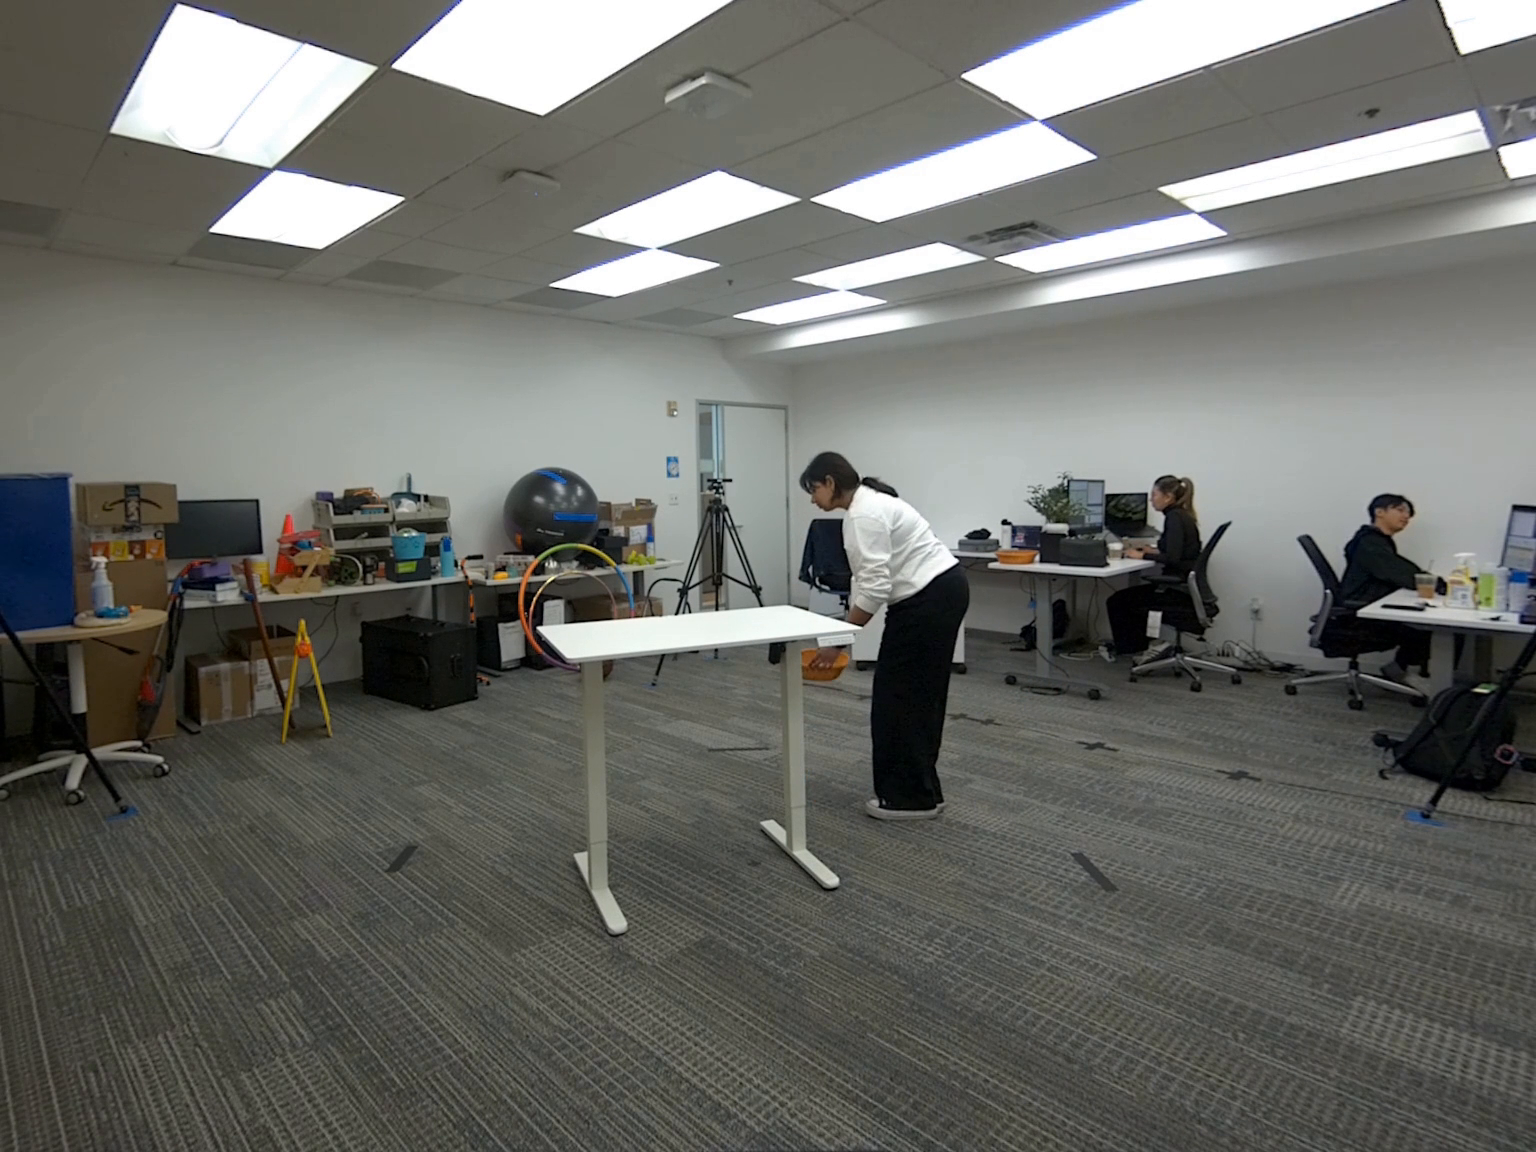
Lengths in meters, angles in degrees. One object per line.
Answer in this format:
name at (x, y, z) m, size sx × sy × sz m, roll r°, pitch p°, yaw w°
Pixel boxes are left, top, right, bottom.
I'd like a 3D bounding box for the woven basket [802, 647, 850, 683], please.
woven basket at (0.243, 0.391, 3.704) m, size 0.257 × 0.073 × 0.346 m, roll 3°, pitch 6°, yaw 17°
